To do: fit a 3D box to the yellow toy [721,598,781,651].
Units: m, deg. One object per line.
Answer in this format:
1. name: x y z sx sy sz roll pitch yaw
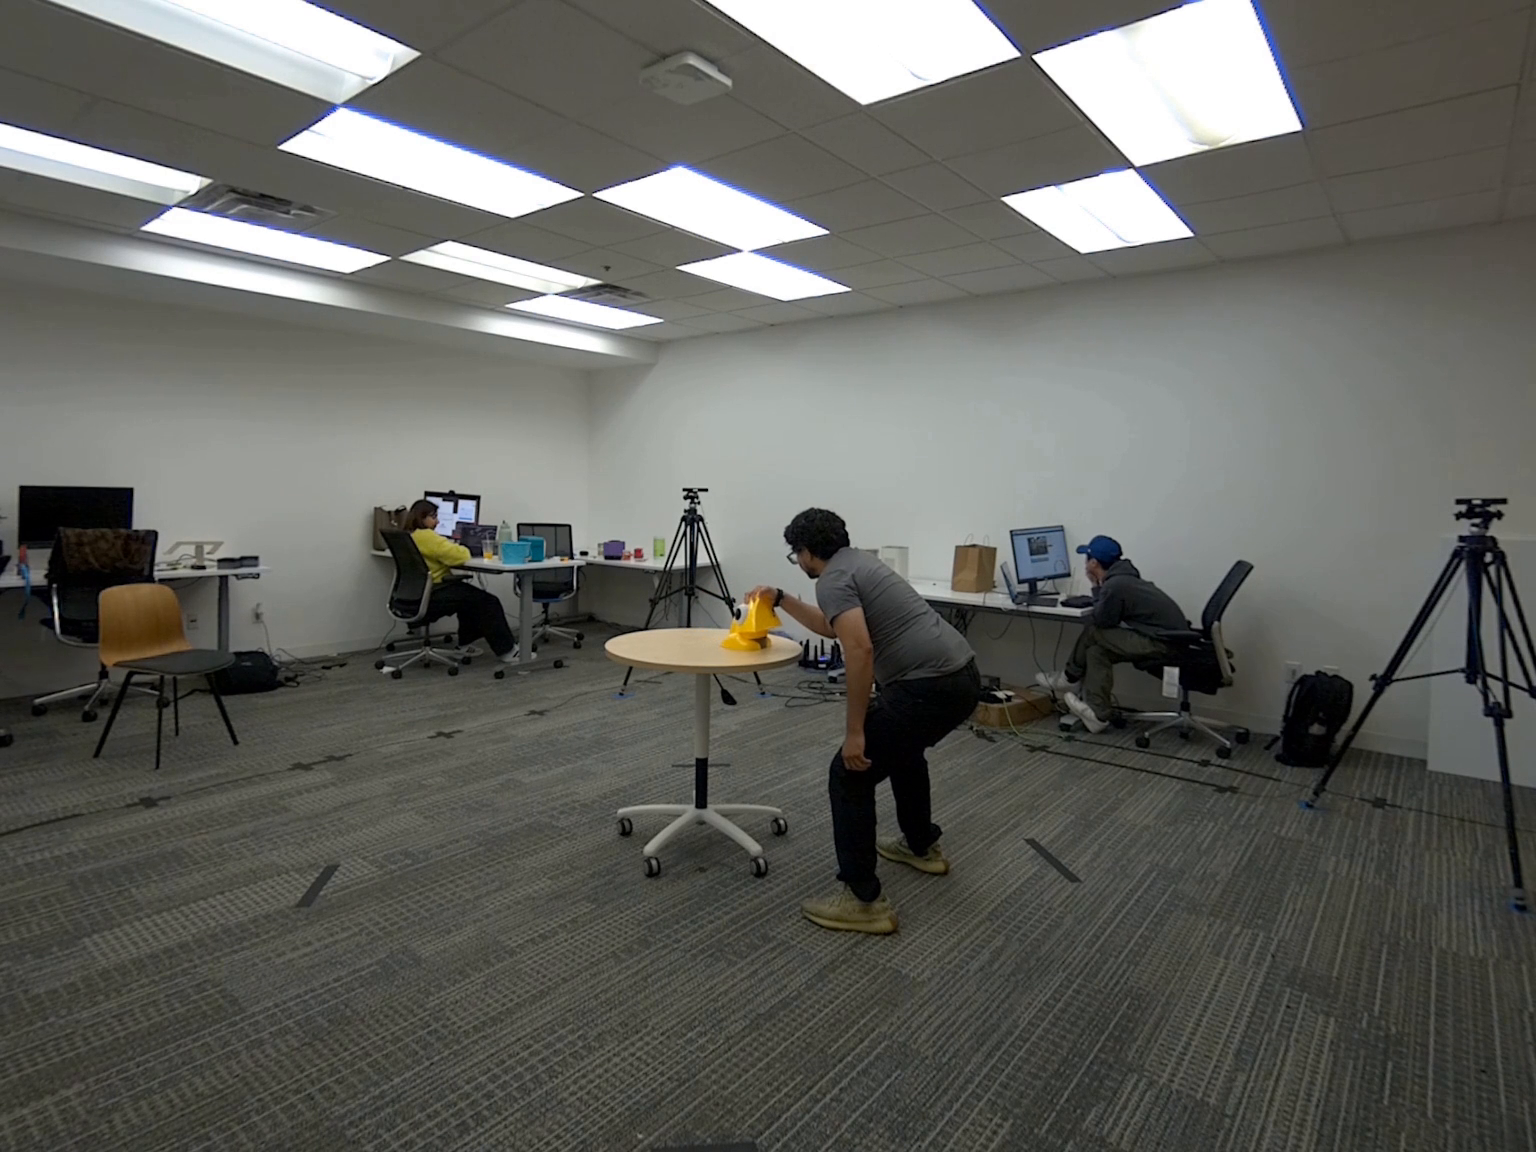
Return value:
1. yellow toy: -0.087 0.157 3.314 0.199 0.230 0.199 3 4 33
